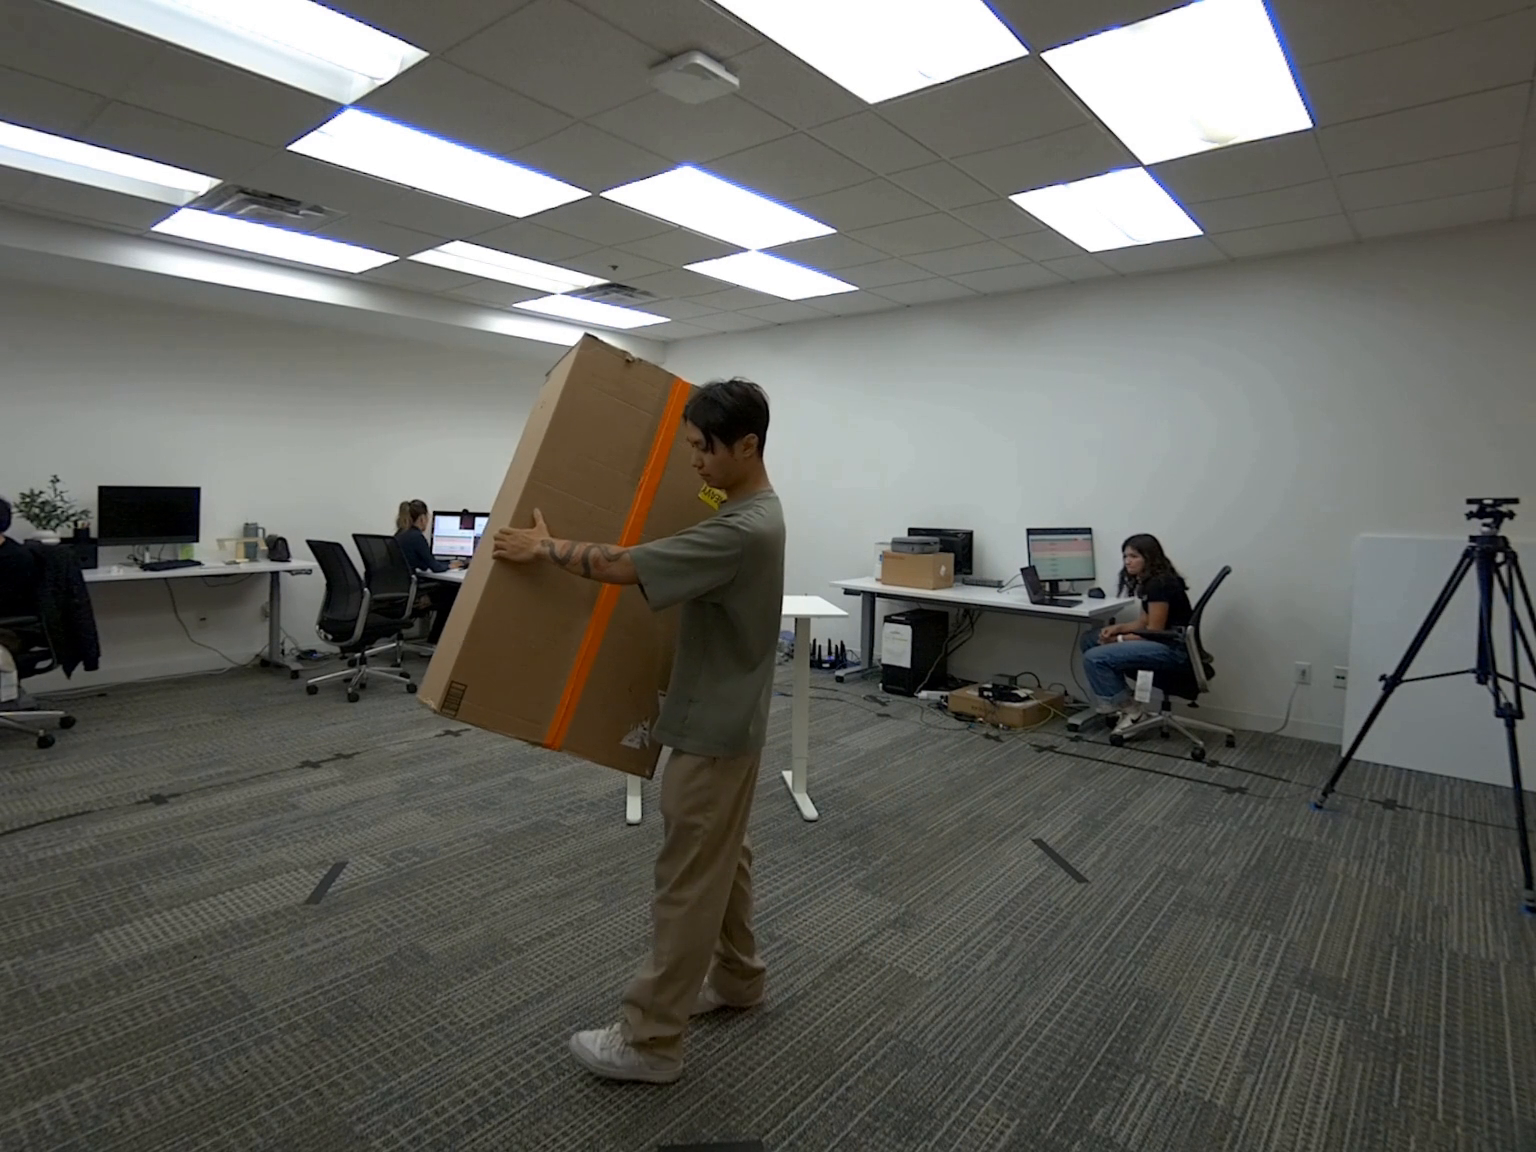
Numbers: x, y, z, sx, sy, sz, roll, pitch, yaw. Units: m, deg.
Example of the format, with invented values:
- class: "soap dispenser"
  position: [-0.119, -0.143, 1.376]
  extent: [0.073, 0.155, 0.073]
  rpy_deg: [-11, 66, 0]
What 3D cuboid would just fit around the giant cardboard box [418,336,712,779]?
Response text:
- class: "giant cardboard box"
  position: [-0.487, -0.047, 2.363]
  extent: [0.561, 1.034, 0.435]
  rpy_deg: [23, -15, -24]
